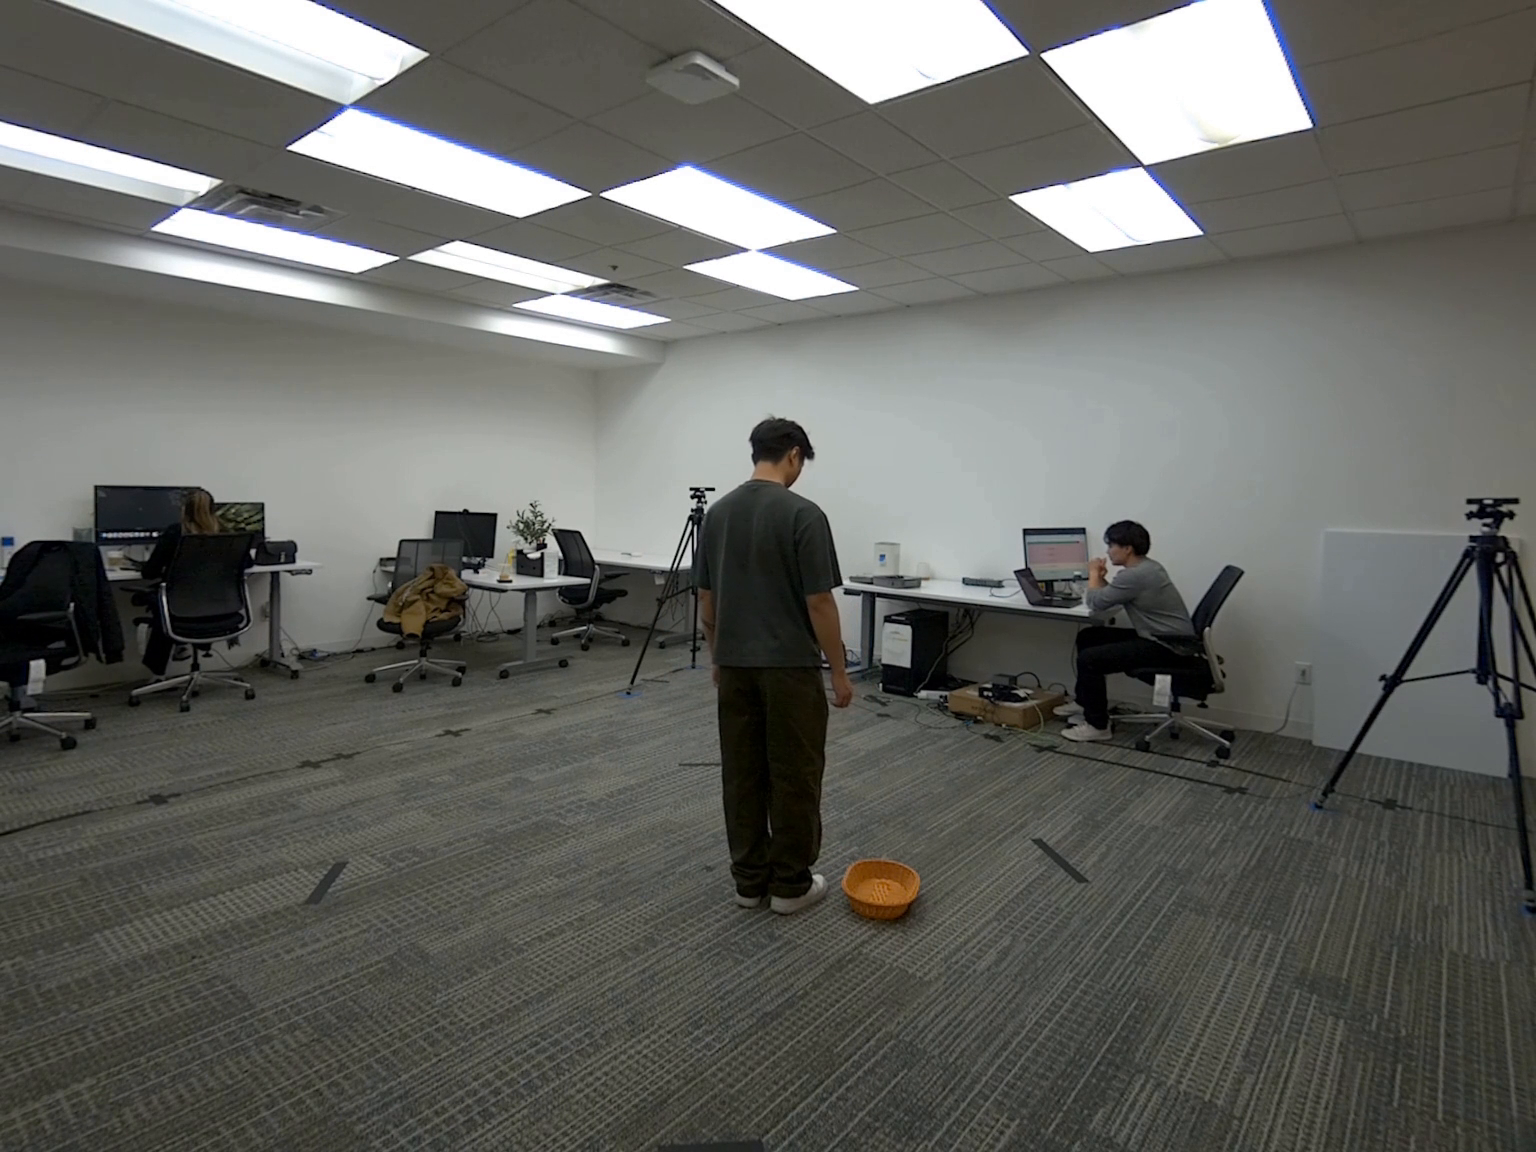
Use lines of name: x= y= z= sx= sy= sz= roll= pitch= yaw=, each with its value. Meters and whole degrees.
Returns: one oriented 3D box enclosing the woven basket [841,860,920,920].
woven basket: x=0.376 y=1.065 z=2.896 sx=0.258 sy=0.073 sz=0.343 roll=3 pitch=6 yaw=22
